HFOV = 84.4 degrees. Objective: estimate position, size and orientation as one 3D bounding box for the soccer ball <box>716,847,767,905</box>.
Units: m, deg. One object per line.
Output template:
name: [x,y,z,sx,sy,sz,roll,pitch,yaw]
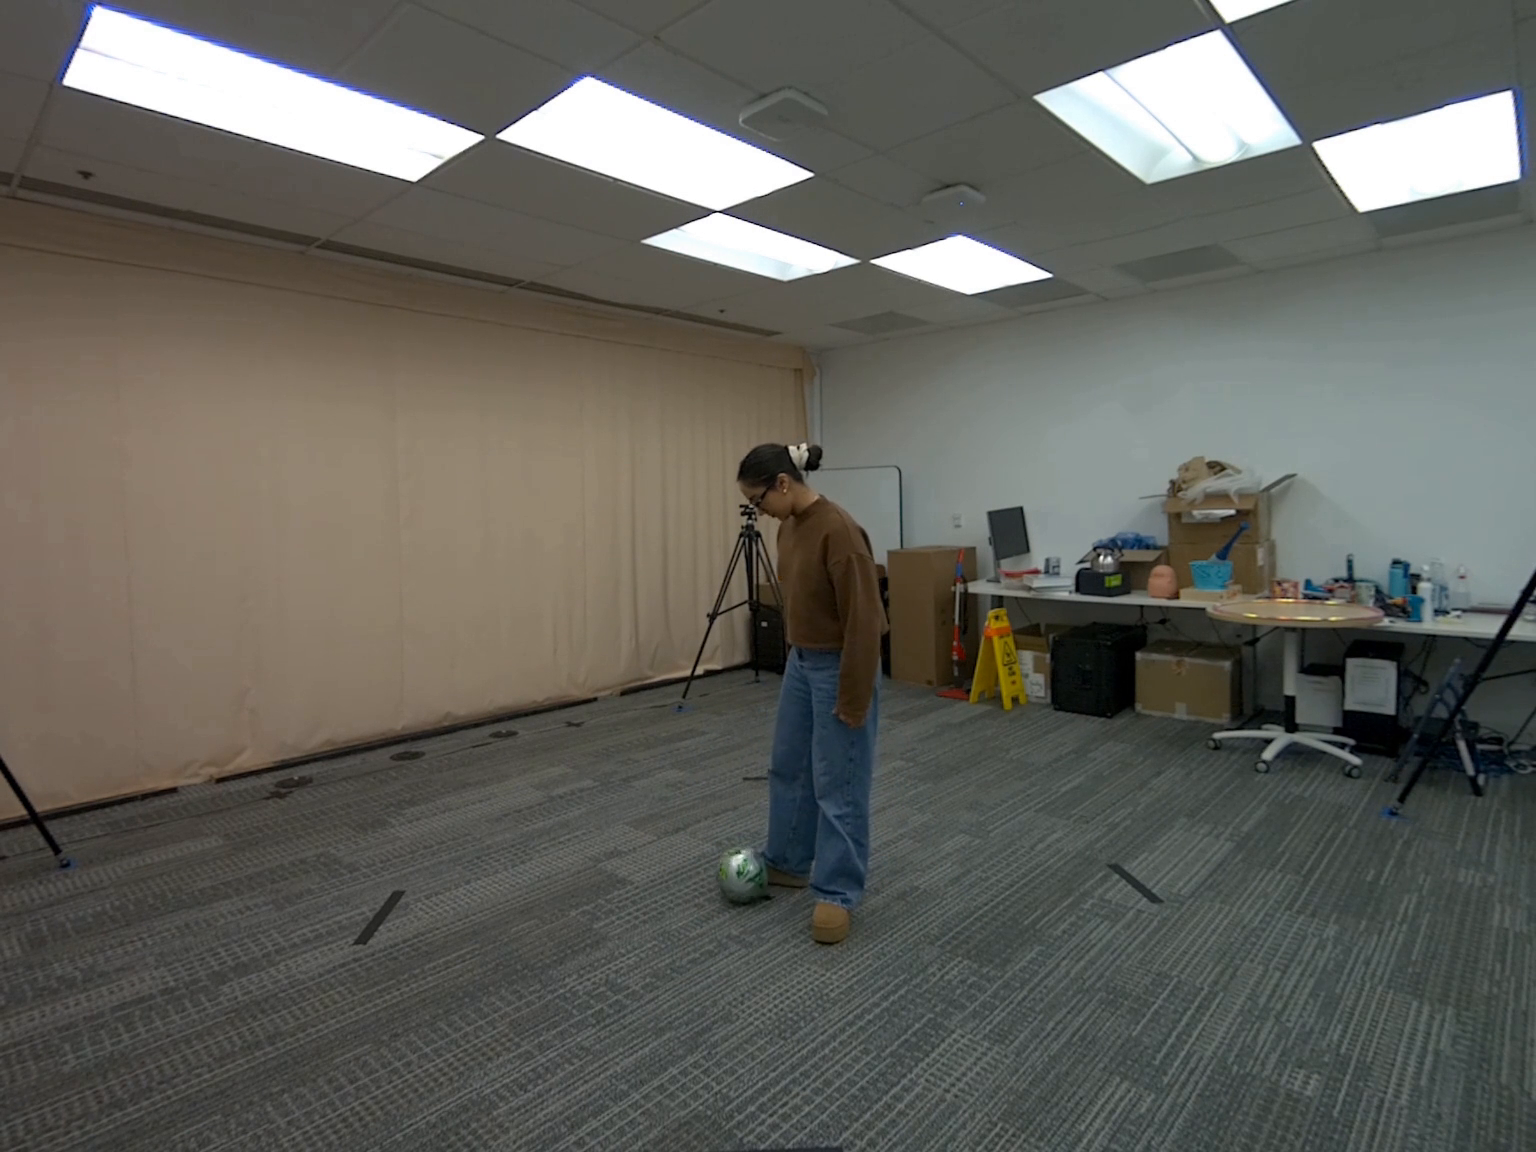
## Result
soccer ball: [-0.088,1.051,2.965,0.187,0.187,0.188,-1,4,-2]
